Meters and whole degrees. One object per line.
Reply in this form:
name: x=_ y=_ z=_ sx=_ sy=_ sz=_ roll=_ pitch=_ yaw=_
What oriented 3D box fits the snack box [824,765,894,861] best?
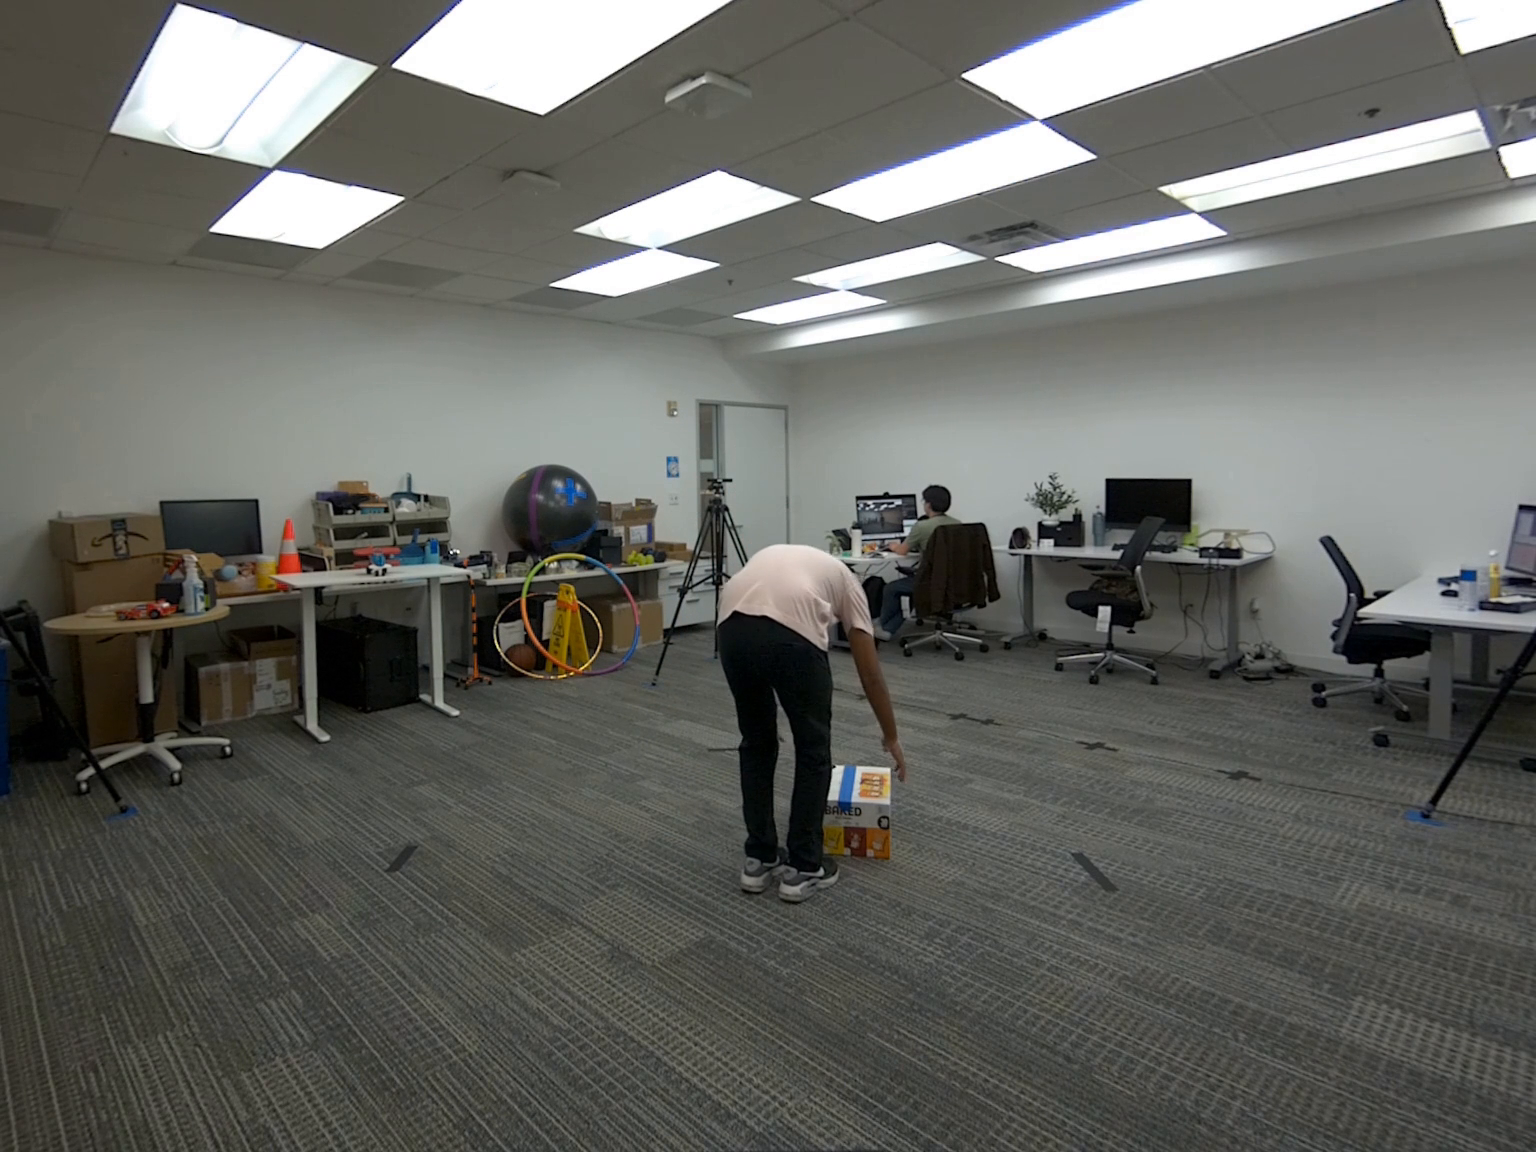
snack box: x=0.315 y=0.912 z=3.350 sx=0.344 sy=0.205 sz=0.403 roll=0 pitch=6 yaw=10
